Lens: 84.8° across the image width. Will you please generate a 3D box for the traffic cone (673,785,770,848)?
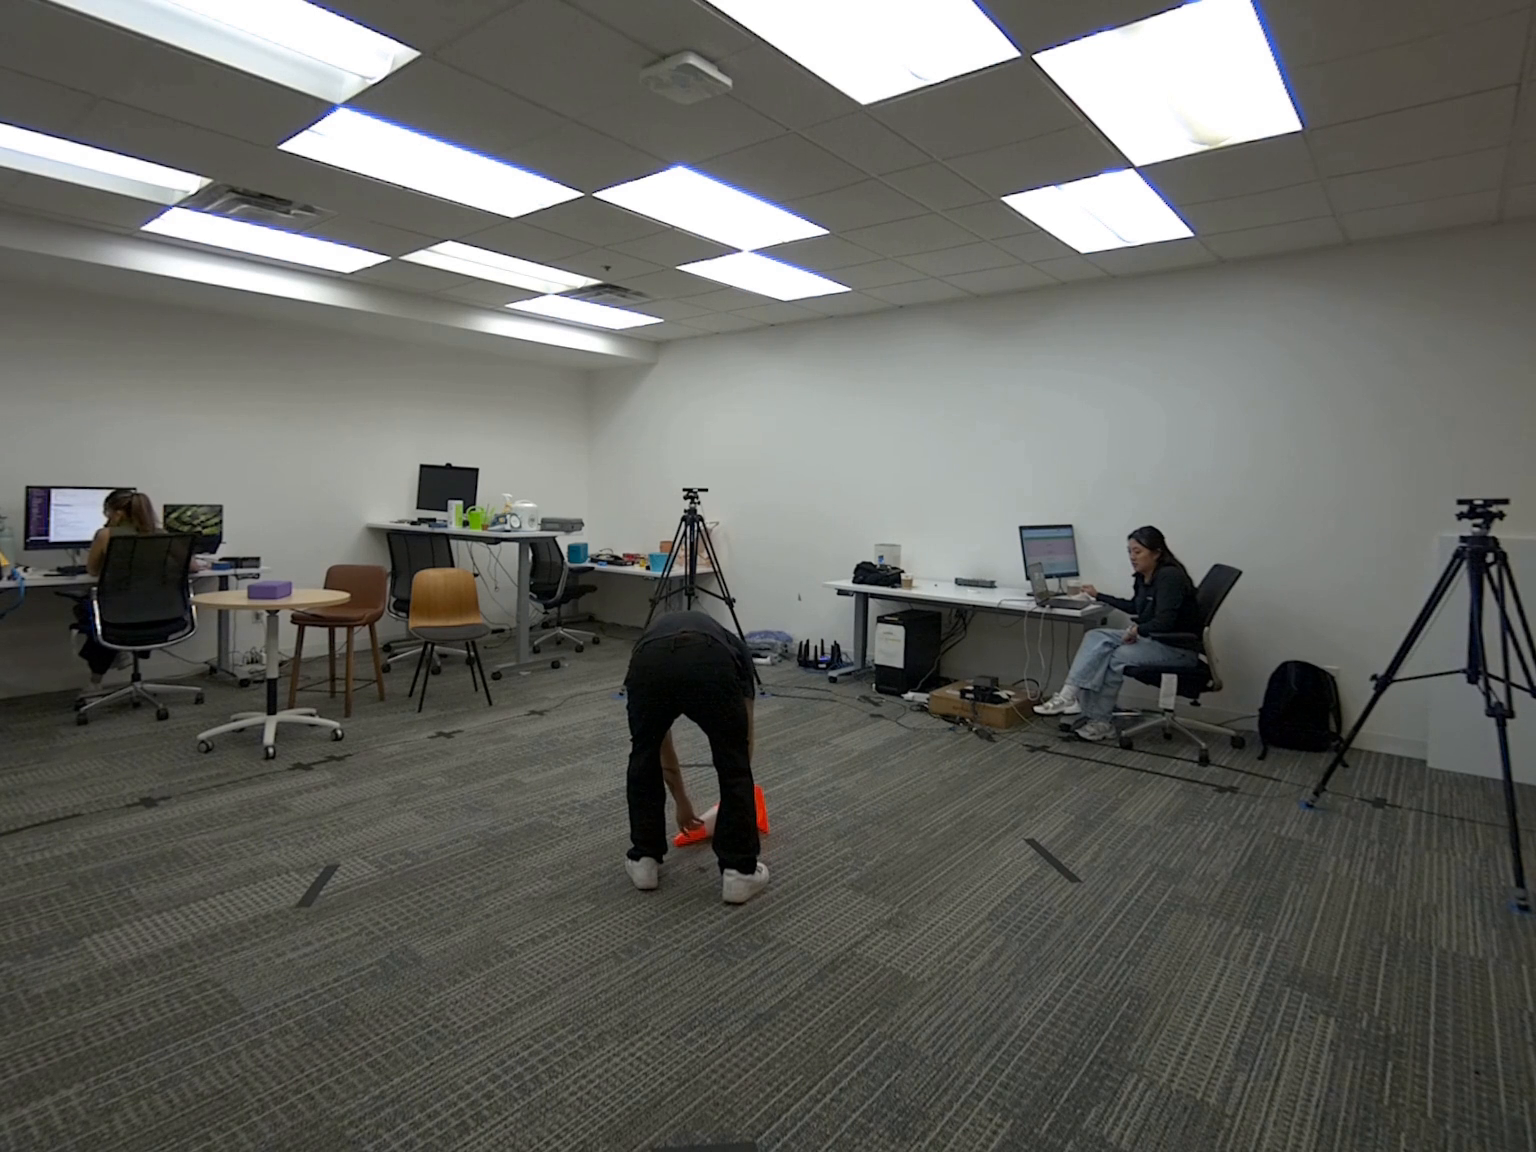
[{"bbox_3d":[-0.226,0.981,3.415,0.376,0.201,0.211,-17,13,-33],"label":"traffic cone"}]
